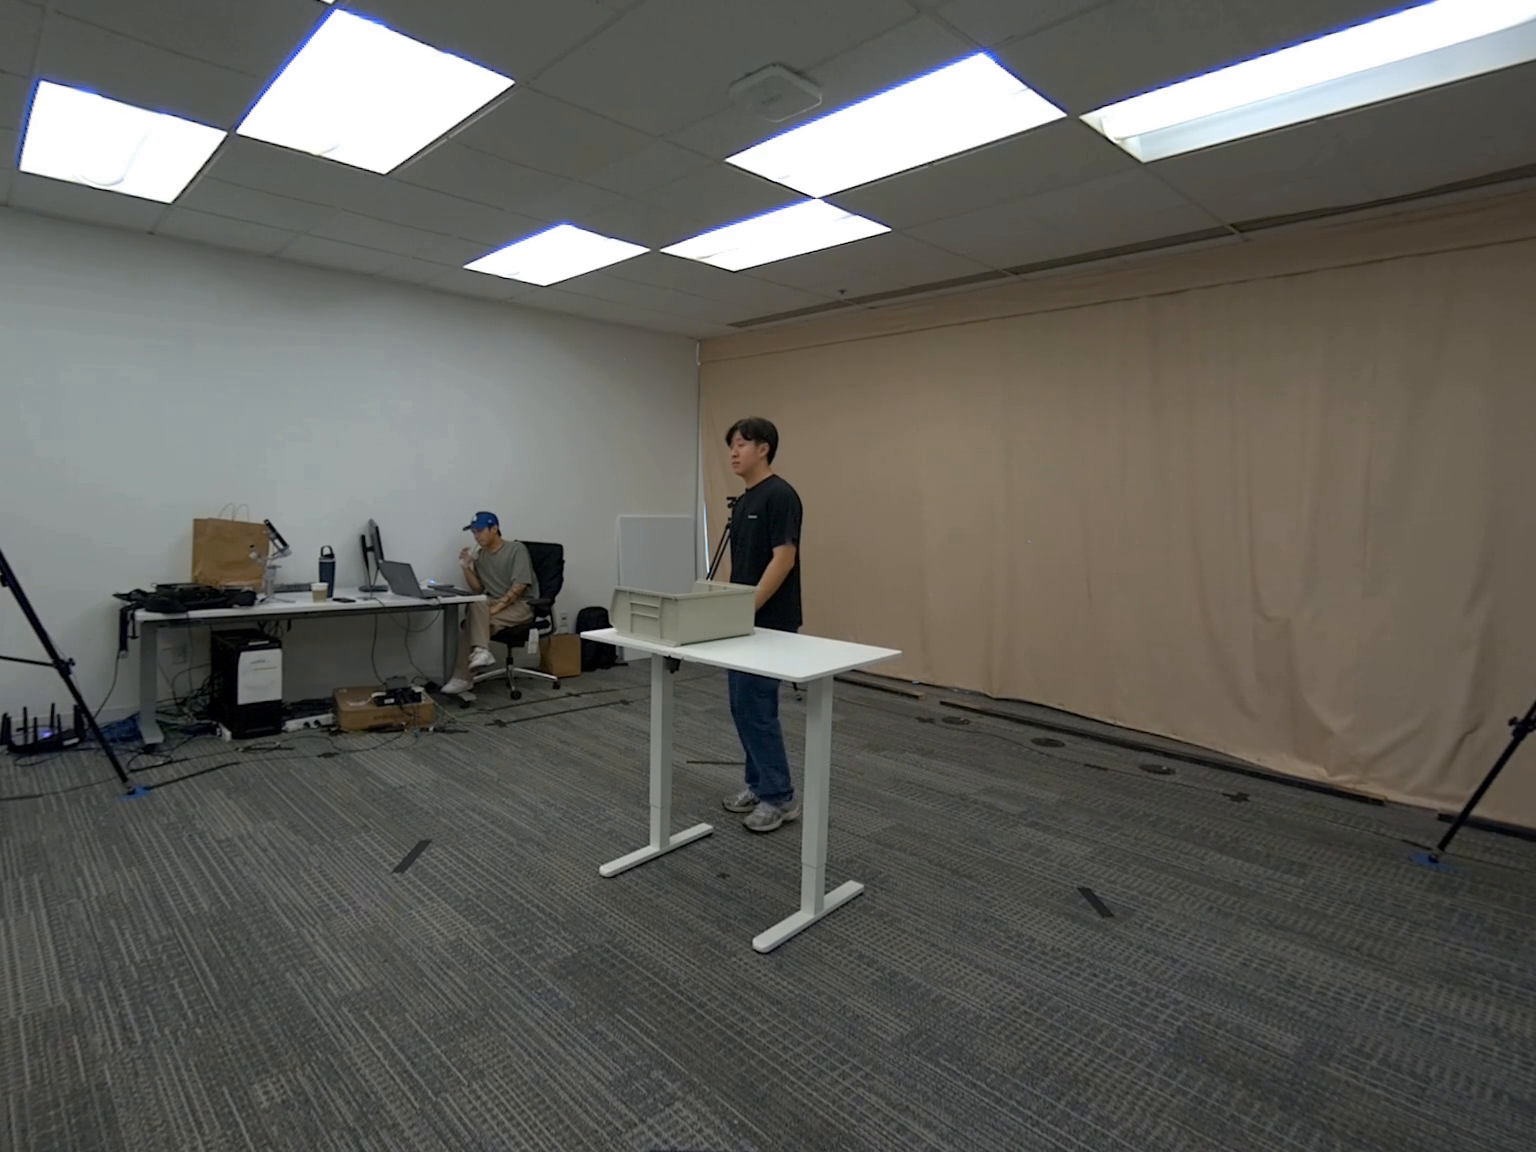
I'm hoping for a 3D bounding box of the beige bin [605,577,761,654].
[{"bbox_3d":[-0.309,0.132,3.111,0.387,0.188,0.413,9,8,43],"label":"beige bin"}]
